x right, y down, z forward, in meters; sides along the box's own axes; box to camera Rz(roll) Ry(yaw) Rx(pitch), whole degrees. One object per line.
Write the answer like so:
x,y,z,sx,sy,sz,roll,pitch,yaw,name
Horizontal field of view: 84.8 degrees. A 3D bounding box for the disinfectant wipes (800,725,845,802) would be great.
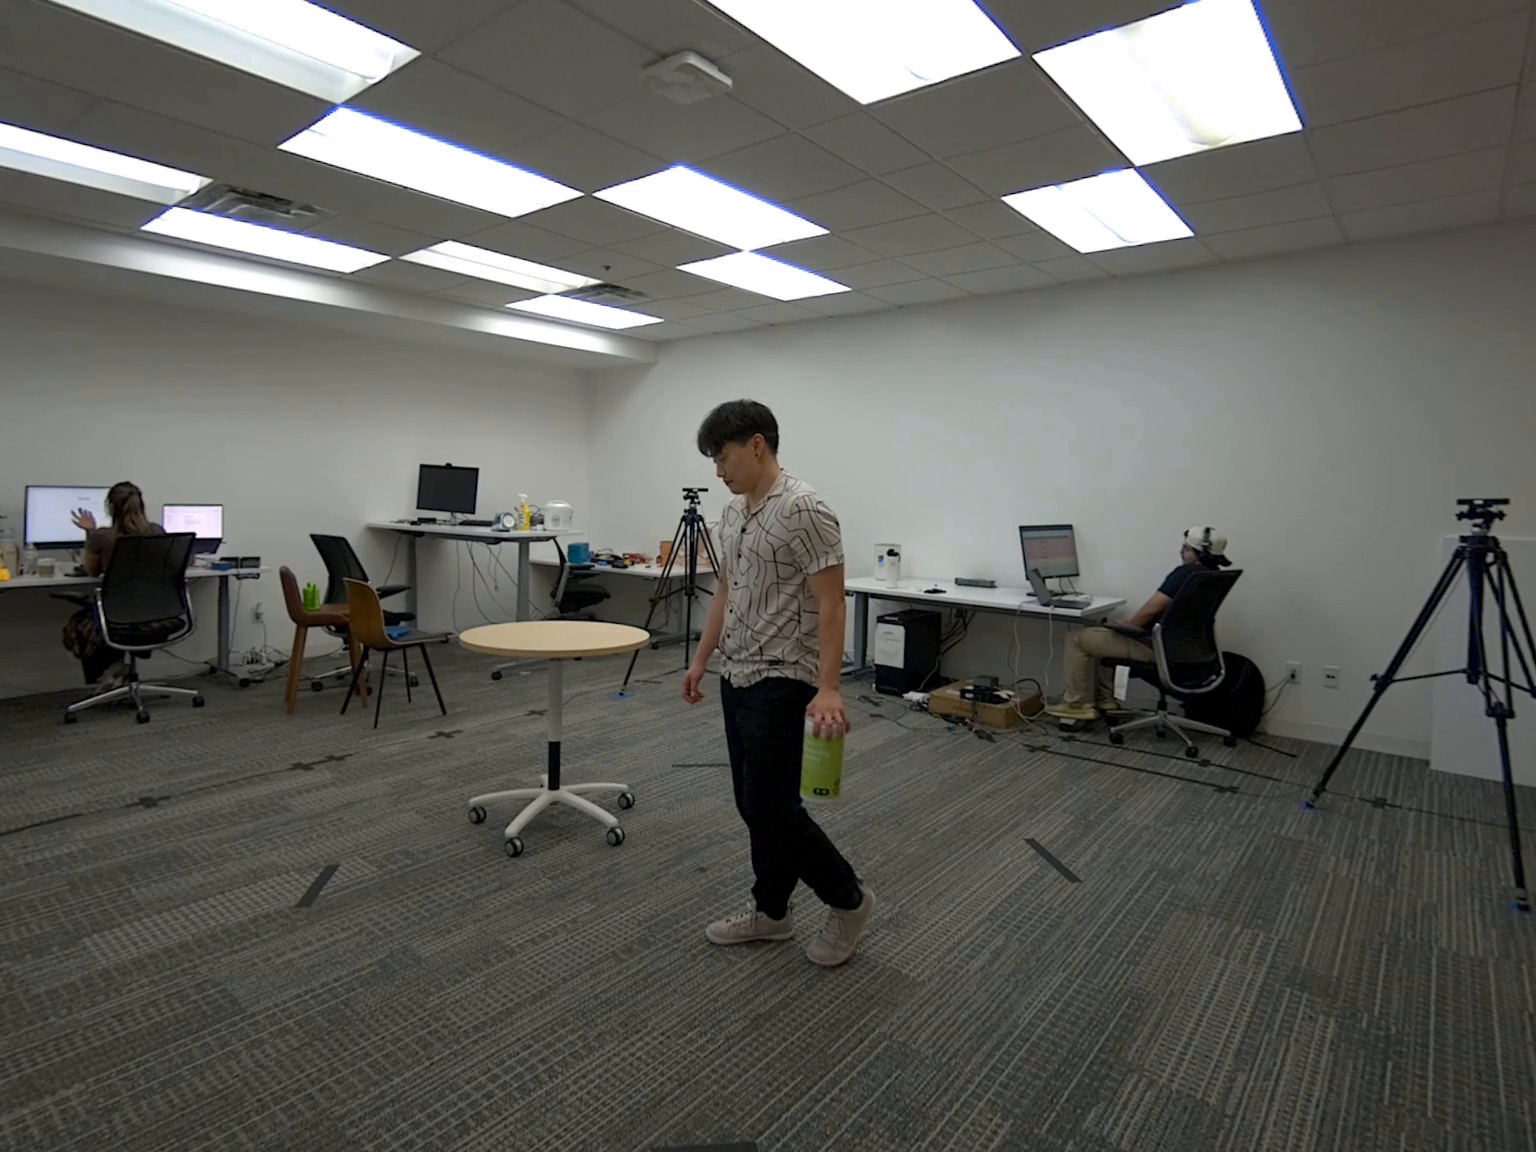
0.144,0.484,2.273,0.117,0.216,0.119,1,7,-2,disinfectant wipes
